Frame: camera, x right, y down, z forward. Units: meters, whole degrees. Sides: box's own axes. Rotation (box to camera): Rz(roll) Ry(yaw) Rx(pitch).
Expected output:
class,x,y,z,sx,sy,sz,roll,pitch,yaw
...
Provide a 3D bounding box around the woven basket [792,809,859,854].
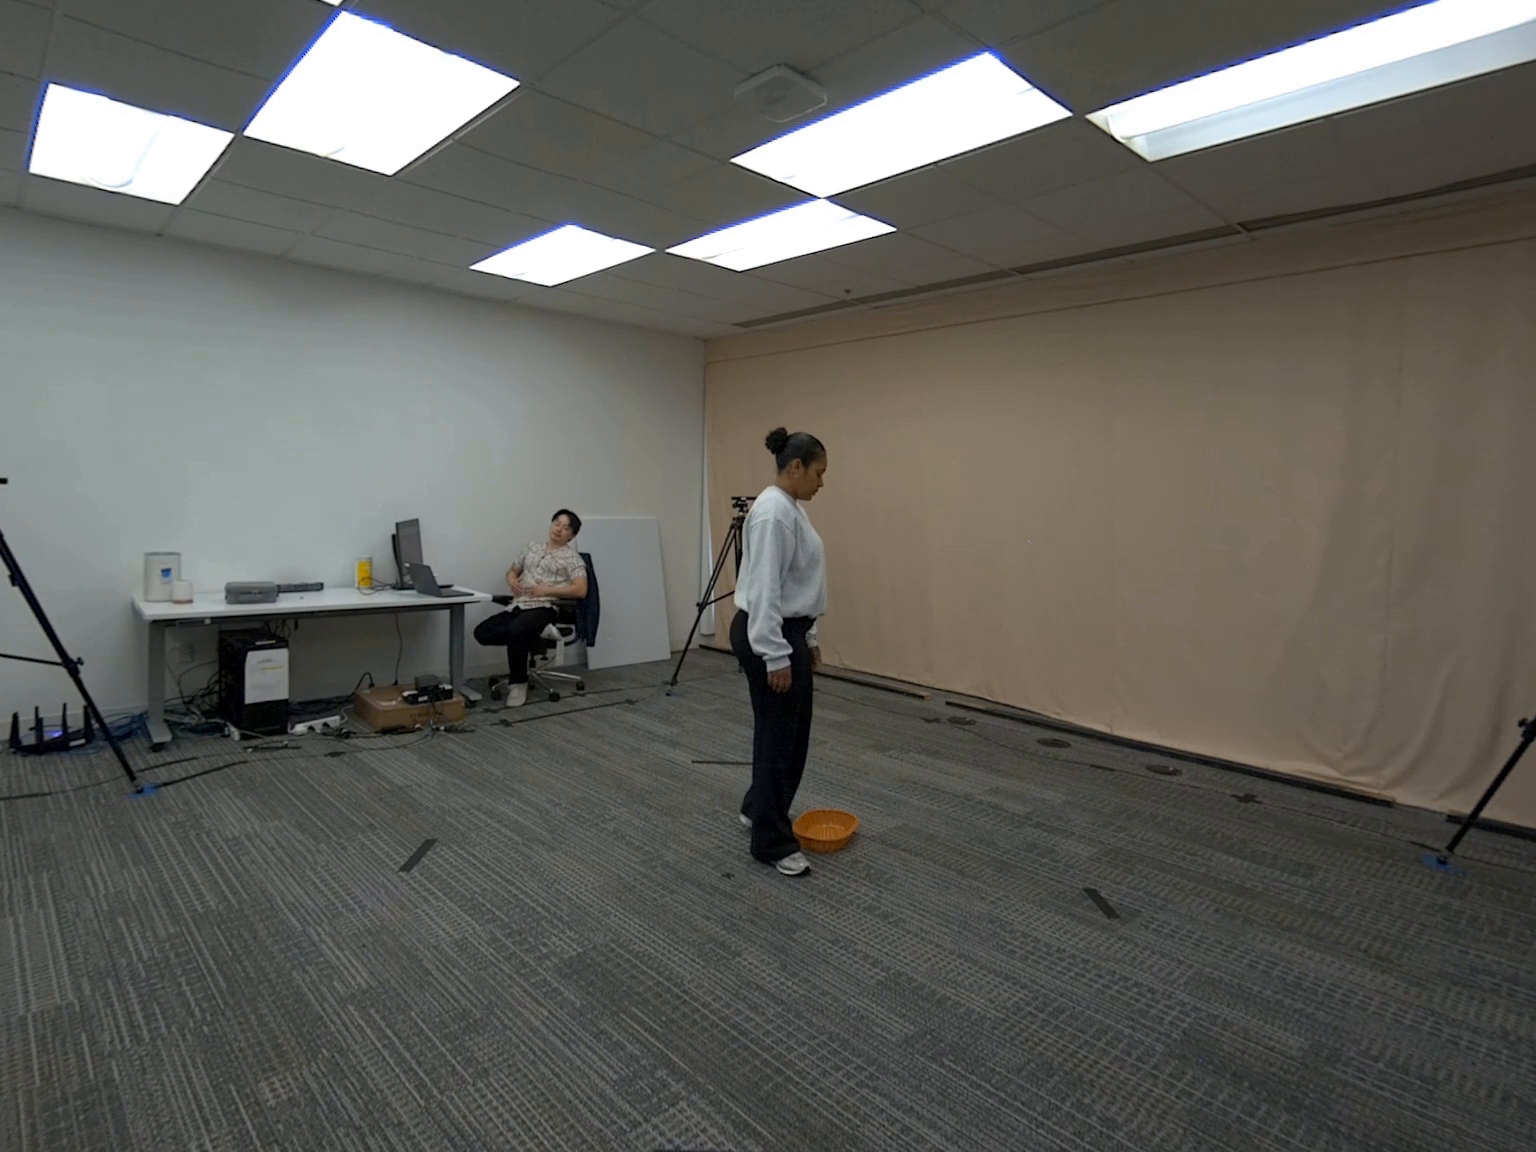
class,x,y,z,sx,sy,sz,roll,pitch,yaw
woven basket,0.242,1.042,3.446,0.257,0.073,0.344,4,6,26
